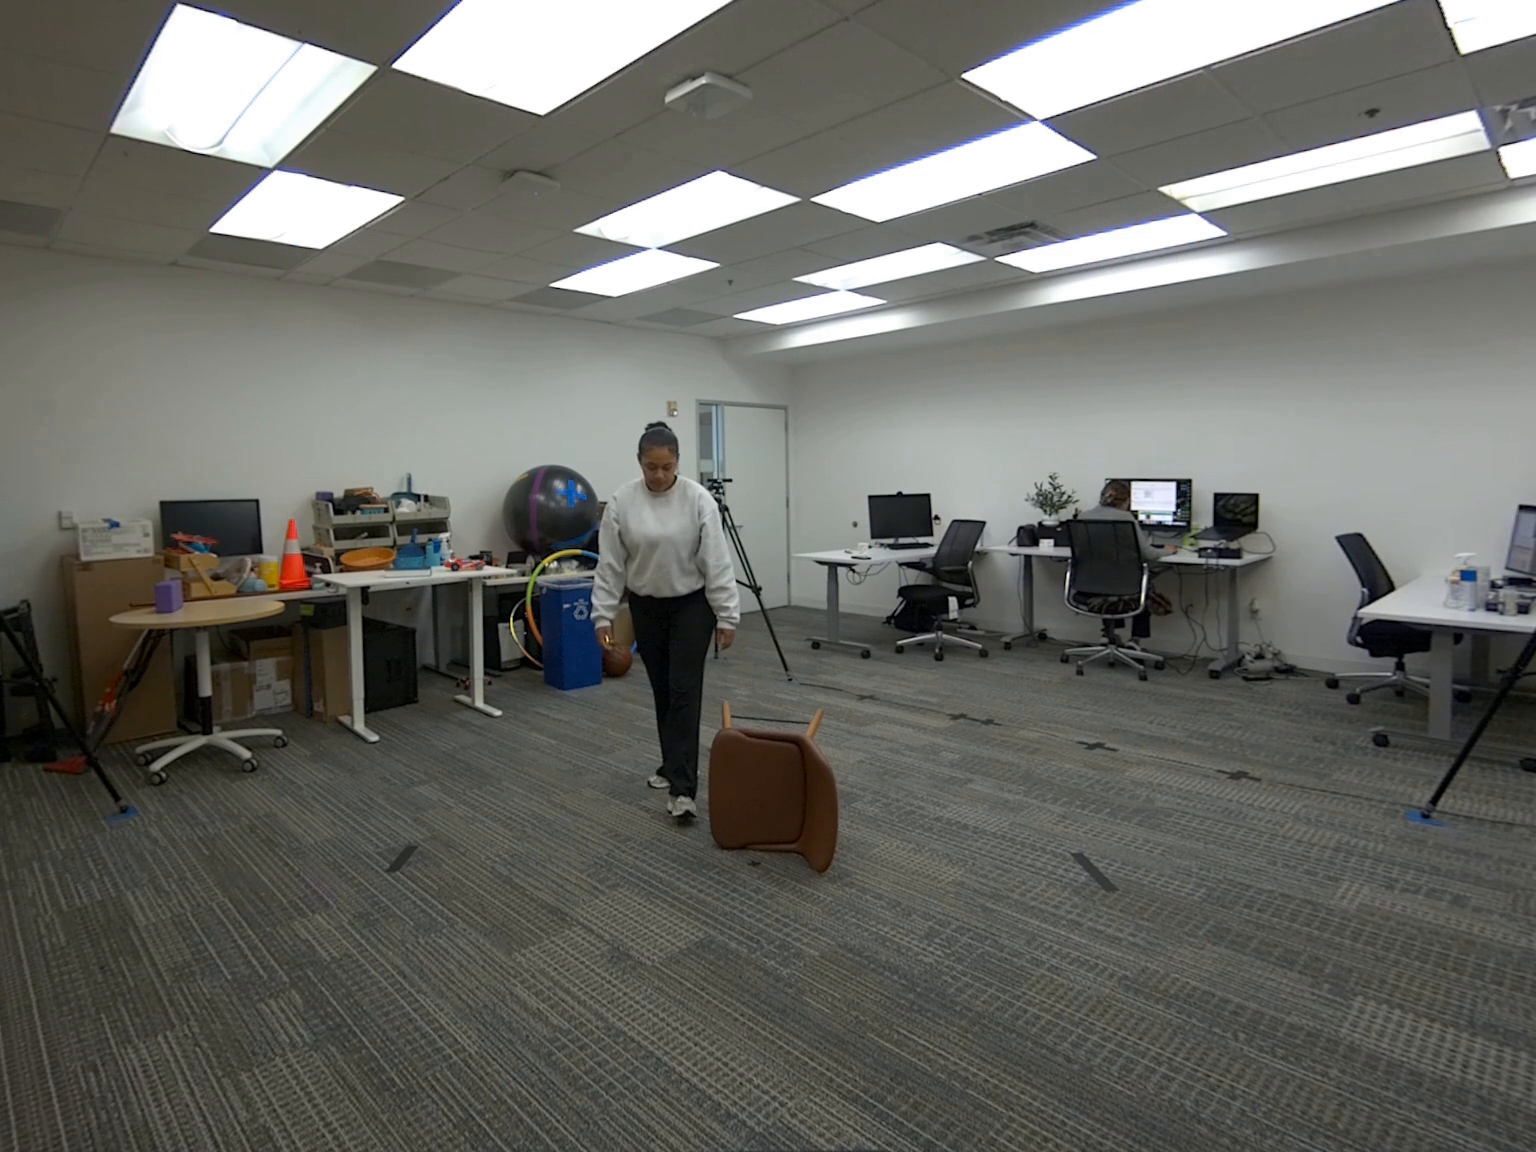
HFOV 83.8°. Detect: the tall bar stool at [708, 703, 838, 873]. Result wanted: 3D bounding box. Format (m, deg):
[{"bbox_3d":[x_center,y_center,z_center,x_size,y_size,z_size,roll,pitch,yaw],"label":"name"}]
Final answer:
[{"bbox_3d":[0.006,0.802,3.369,0.469,0.455,0.890,1,4,1],"label":"tall bar stool"}]
